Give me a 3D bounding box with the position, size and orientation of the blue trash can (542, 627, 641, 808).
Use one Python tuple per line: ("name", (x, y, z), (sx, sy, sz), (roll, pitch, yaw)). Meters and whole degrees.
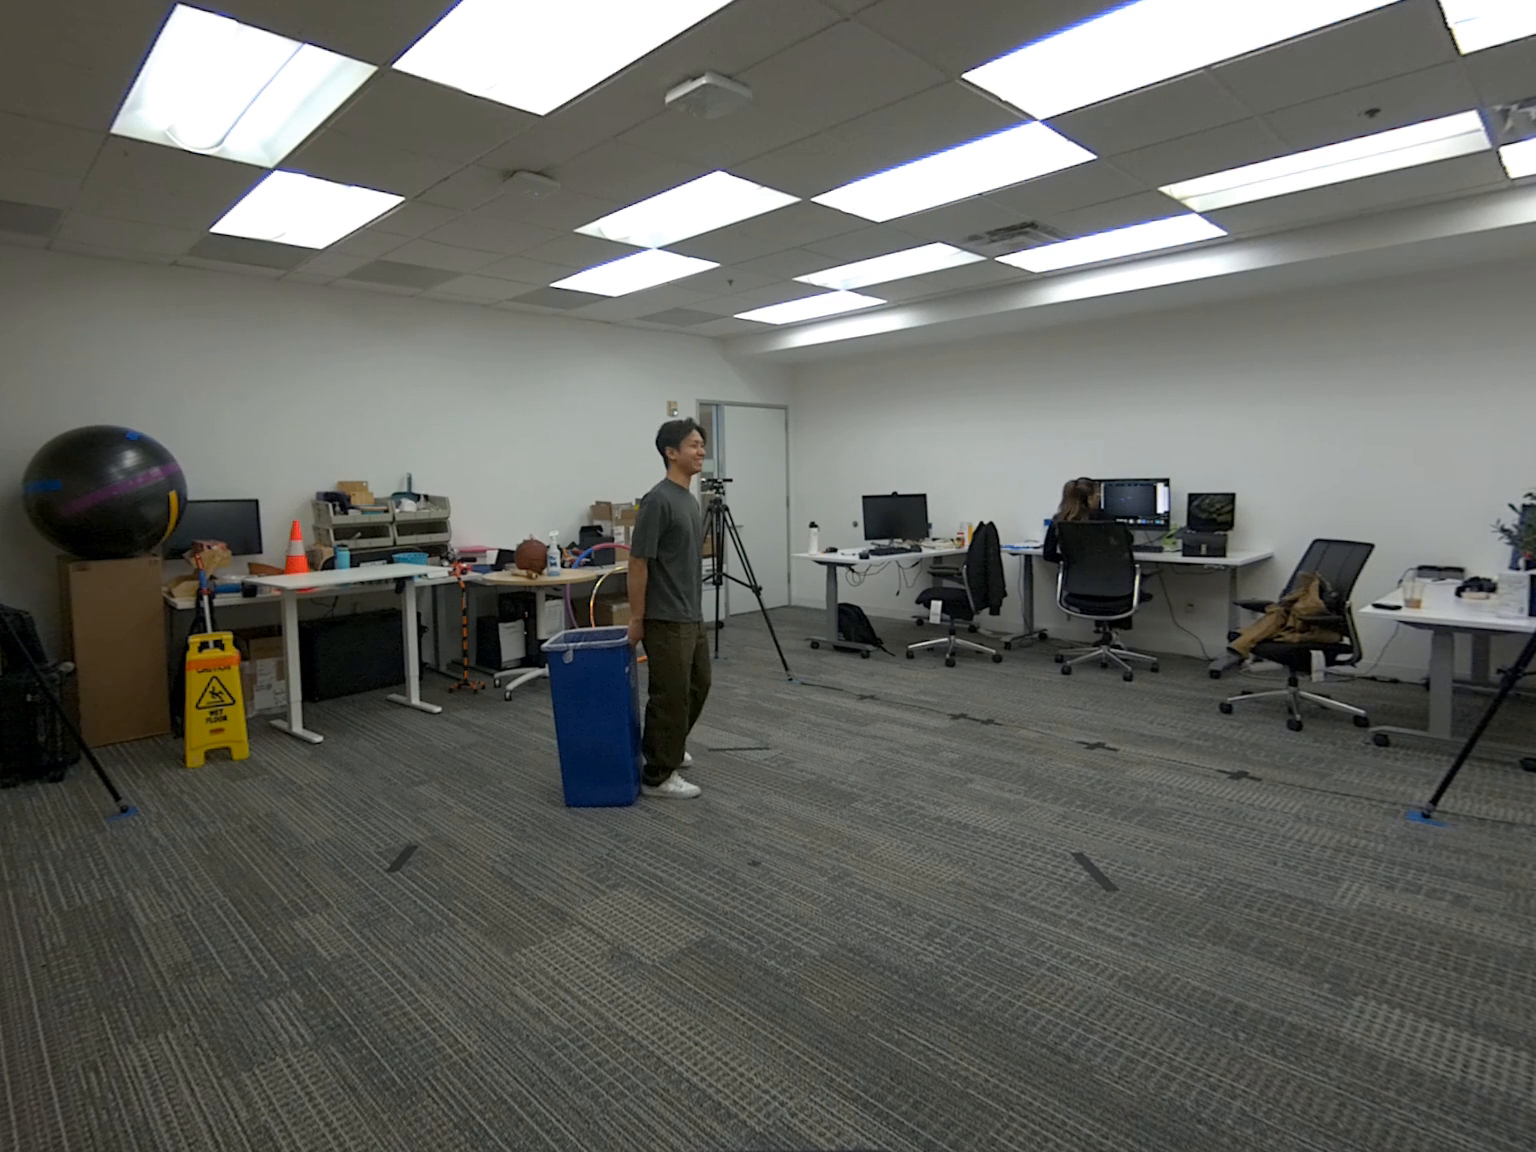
("blue trash can", (-0.761, 0.618, 3.805), (0.379, 0.711, 0.374), (-4, 4, 3))
